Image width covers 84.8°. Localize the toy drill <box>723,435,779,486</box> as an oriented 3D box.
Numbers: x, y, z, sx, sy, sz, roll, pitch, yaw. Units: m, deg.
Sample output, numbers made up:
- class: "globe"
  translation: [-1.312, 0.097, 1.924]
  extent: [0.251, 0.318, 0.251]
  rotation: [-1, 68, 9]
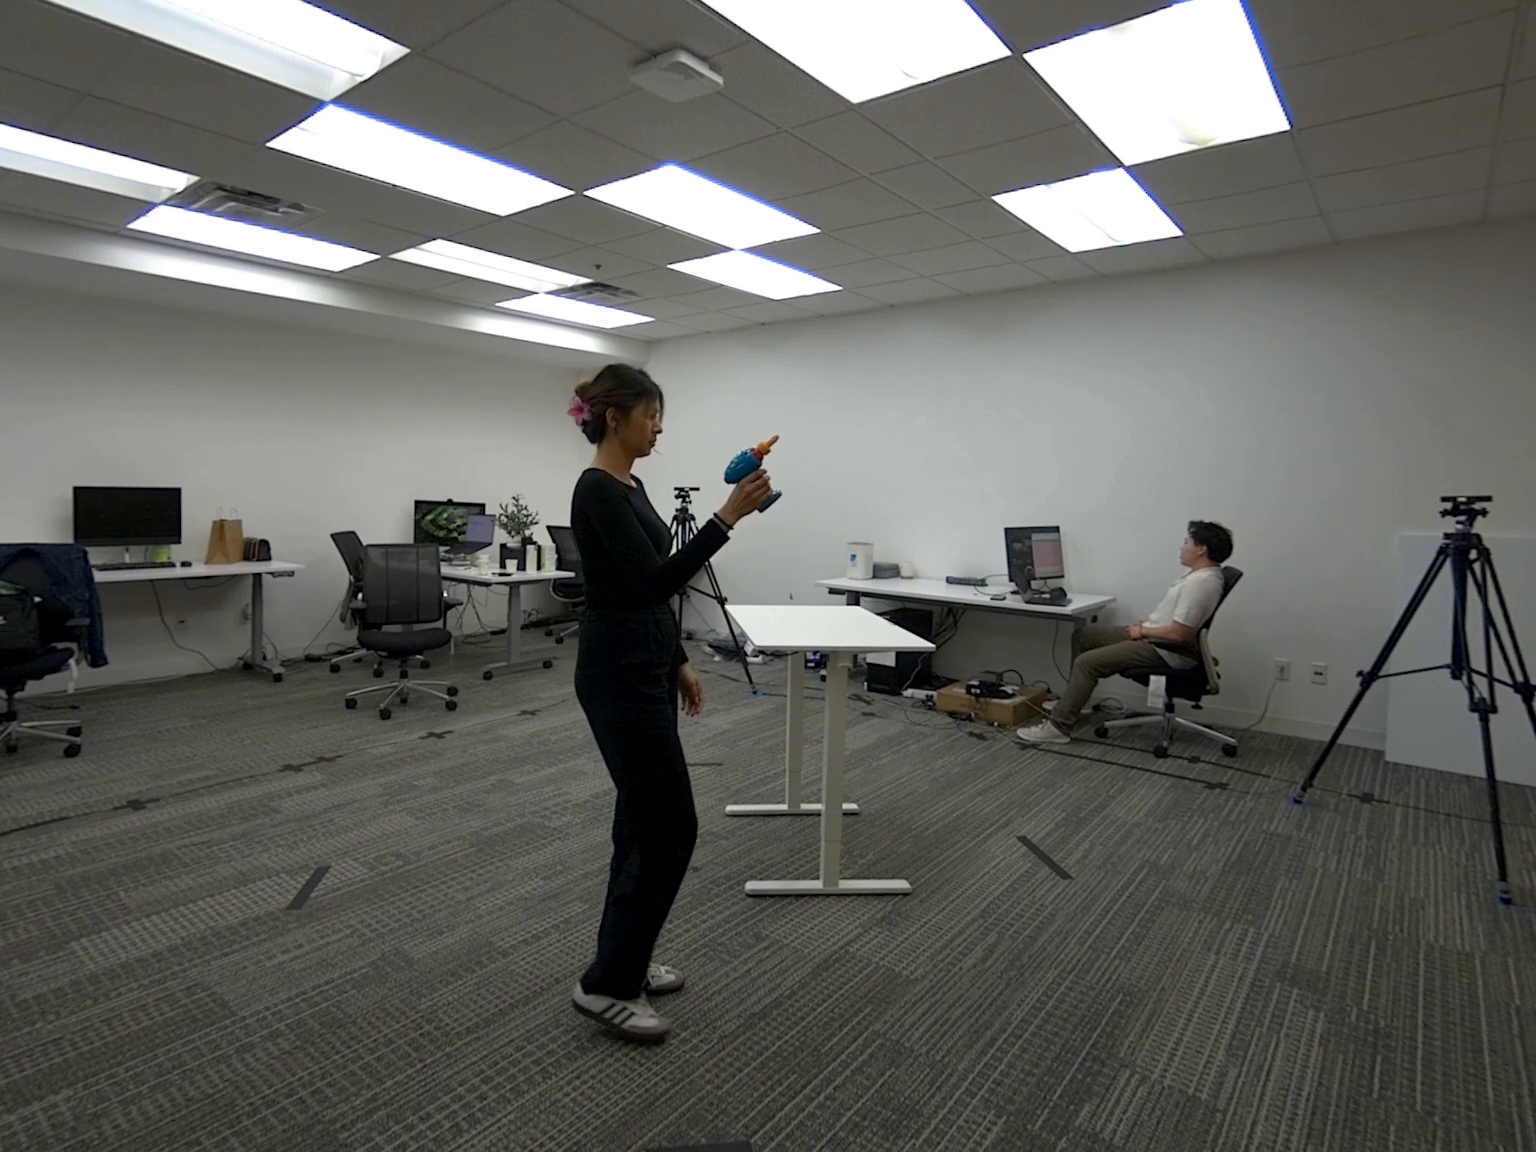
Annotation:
- class: "toy drill"
  translation: [-0.024, -0.252, 2.030]
  extent: [0.170, 0.146, 0.061]
  rotation: [-42, 2, 13]
